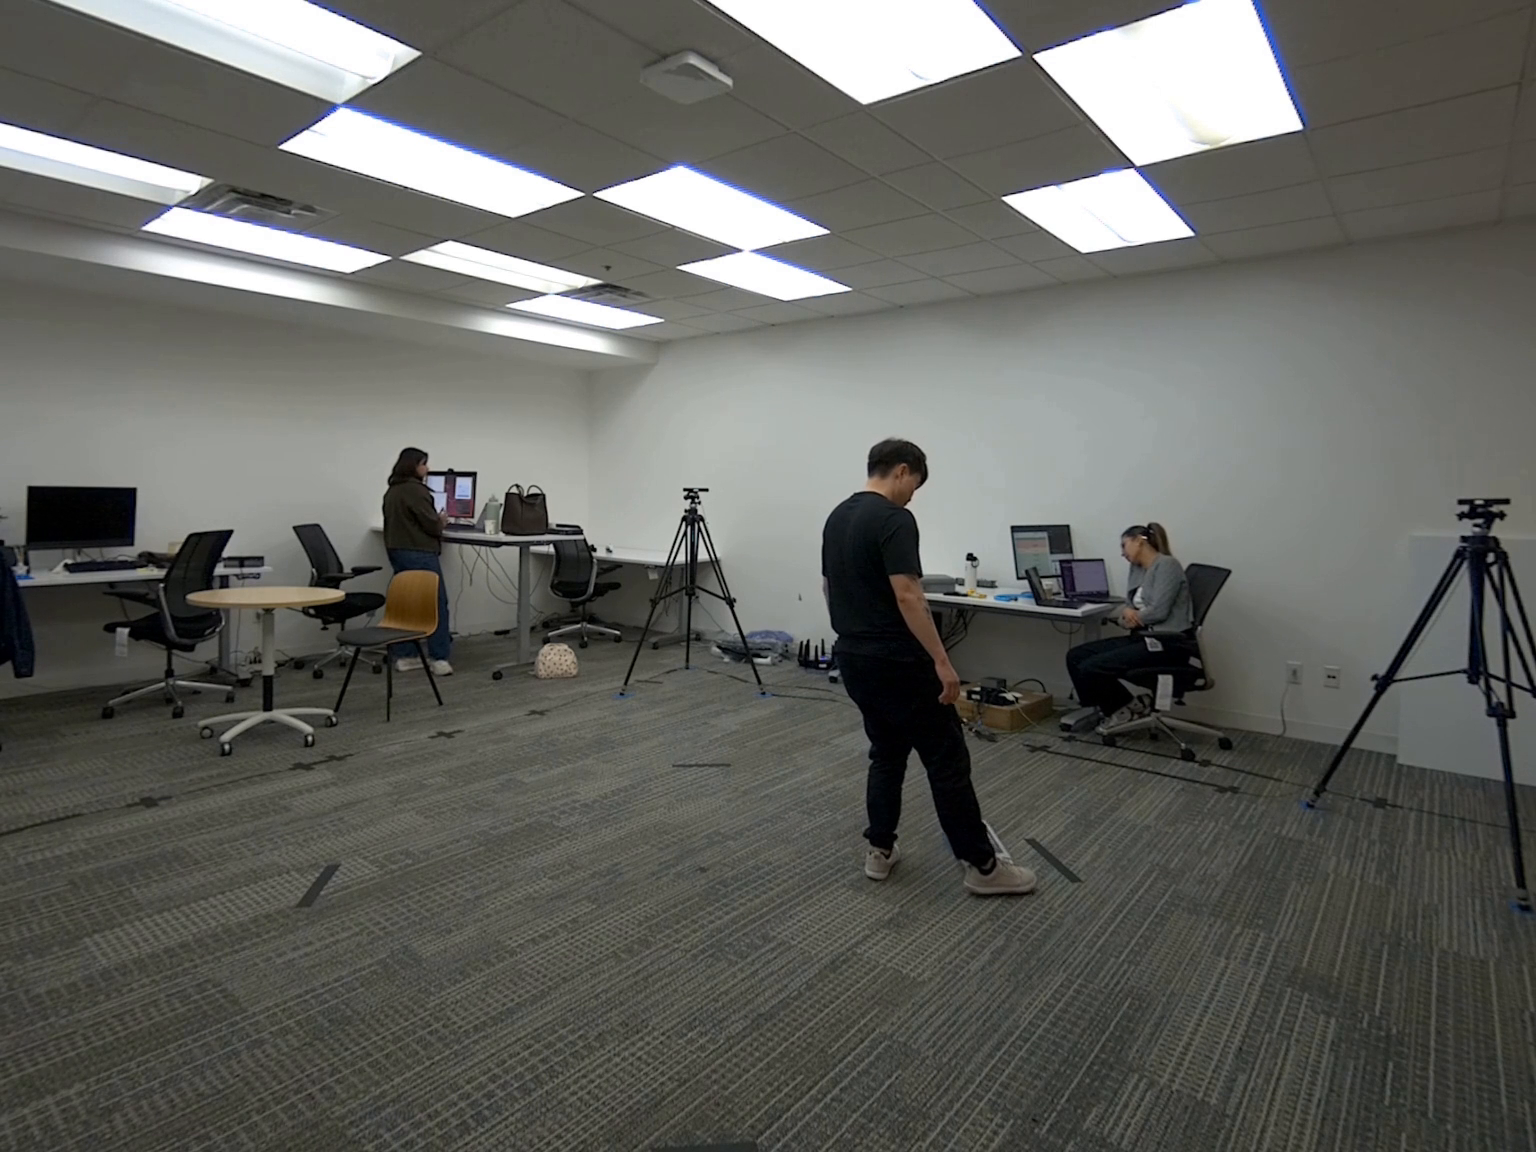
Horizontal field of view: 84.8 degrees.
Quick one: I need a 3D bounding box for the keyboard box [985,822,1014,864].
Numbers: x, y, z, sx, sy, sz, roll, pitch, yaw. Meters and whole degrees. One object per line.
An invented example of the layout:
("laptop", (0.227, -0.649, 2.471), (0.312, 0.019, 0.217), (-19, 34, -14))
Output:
("keyboard box", (0.793, 1.039, 3.286), (0.176, 0.059, 0.438), (1, 6, 0))
